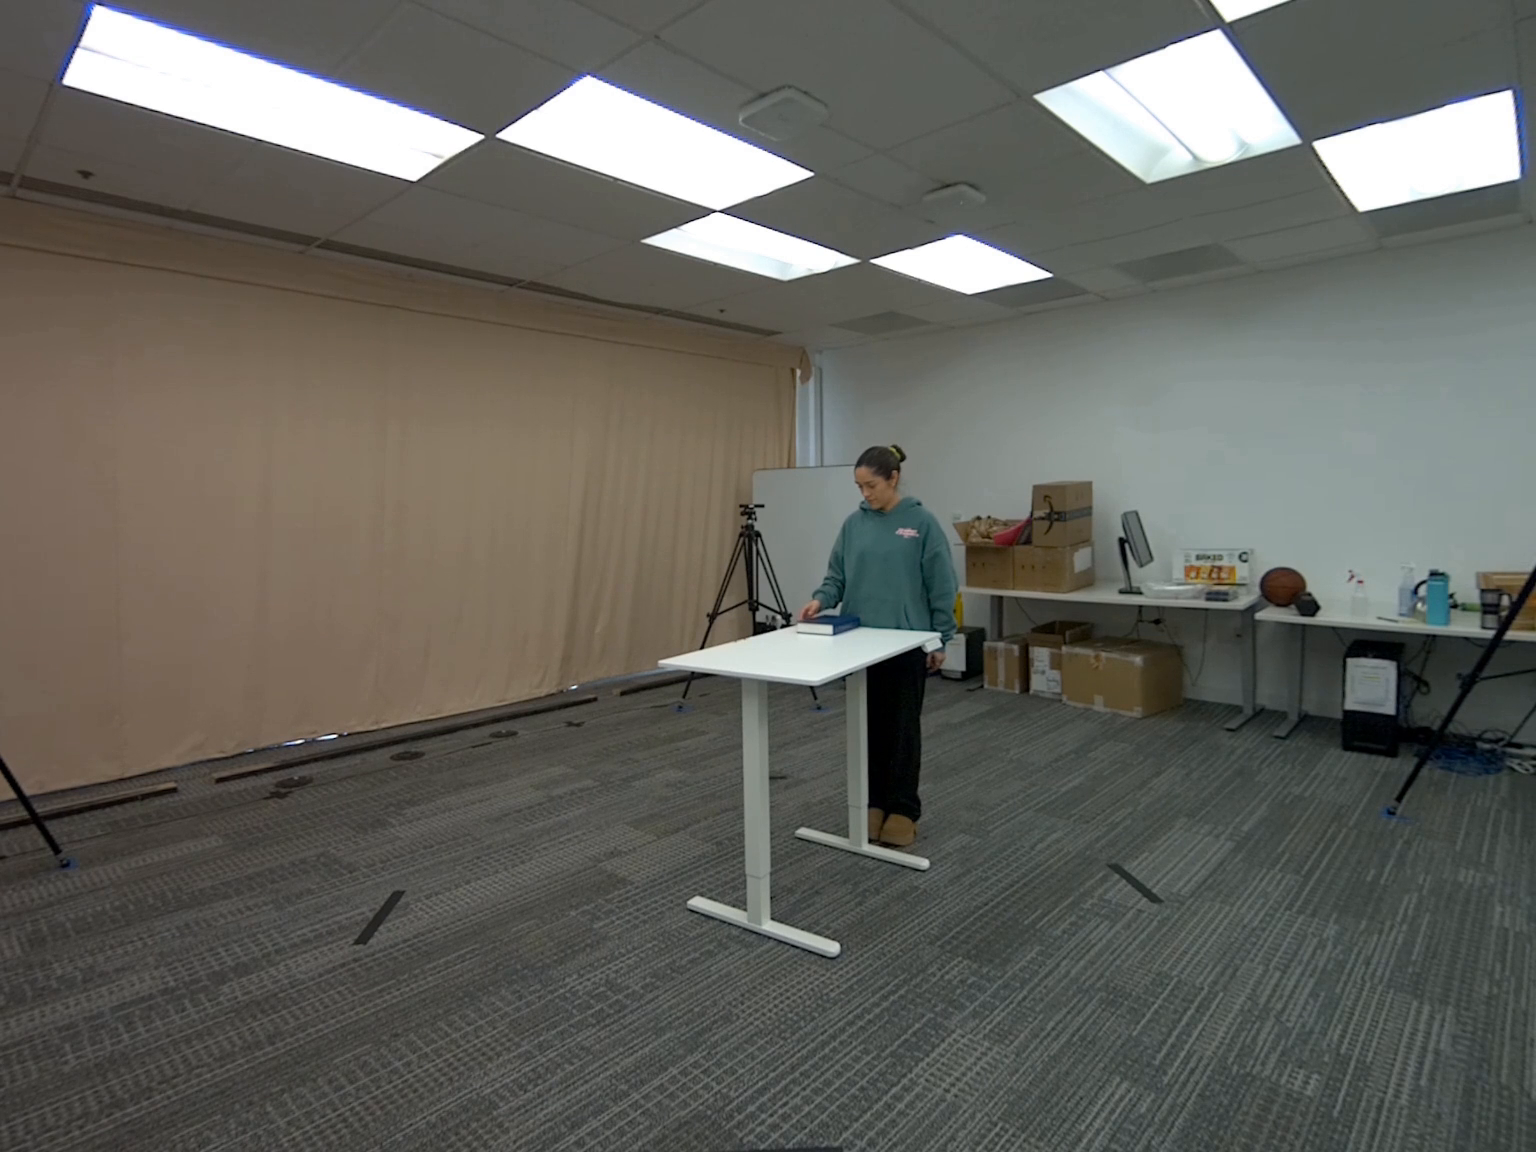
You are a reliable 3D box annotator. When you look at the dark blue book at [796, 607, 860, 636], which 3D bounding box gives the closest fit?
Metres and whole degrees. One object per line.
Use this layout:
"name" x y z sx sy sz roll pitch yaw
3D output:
"dark blue book" 0.247 0.200 3.374 0.168 0.045 0.239 2 6 30
